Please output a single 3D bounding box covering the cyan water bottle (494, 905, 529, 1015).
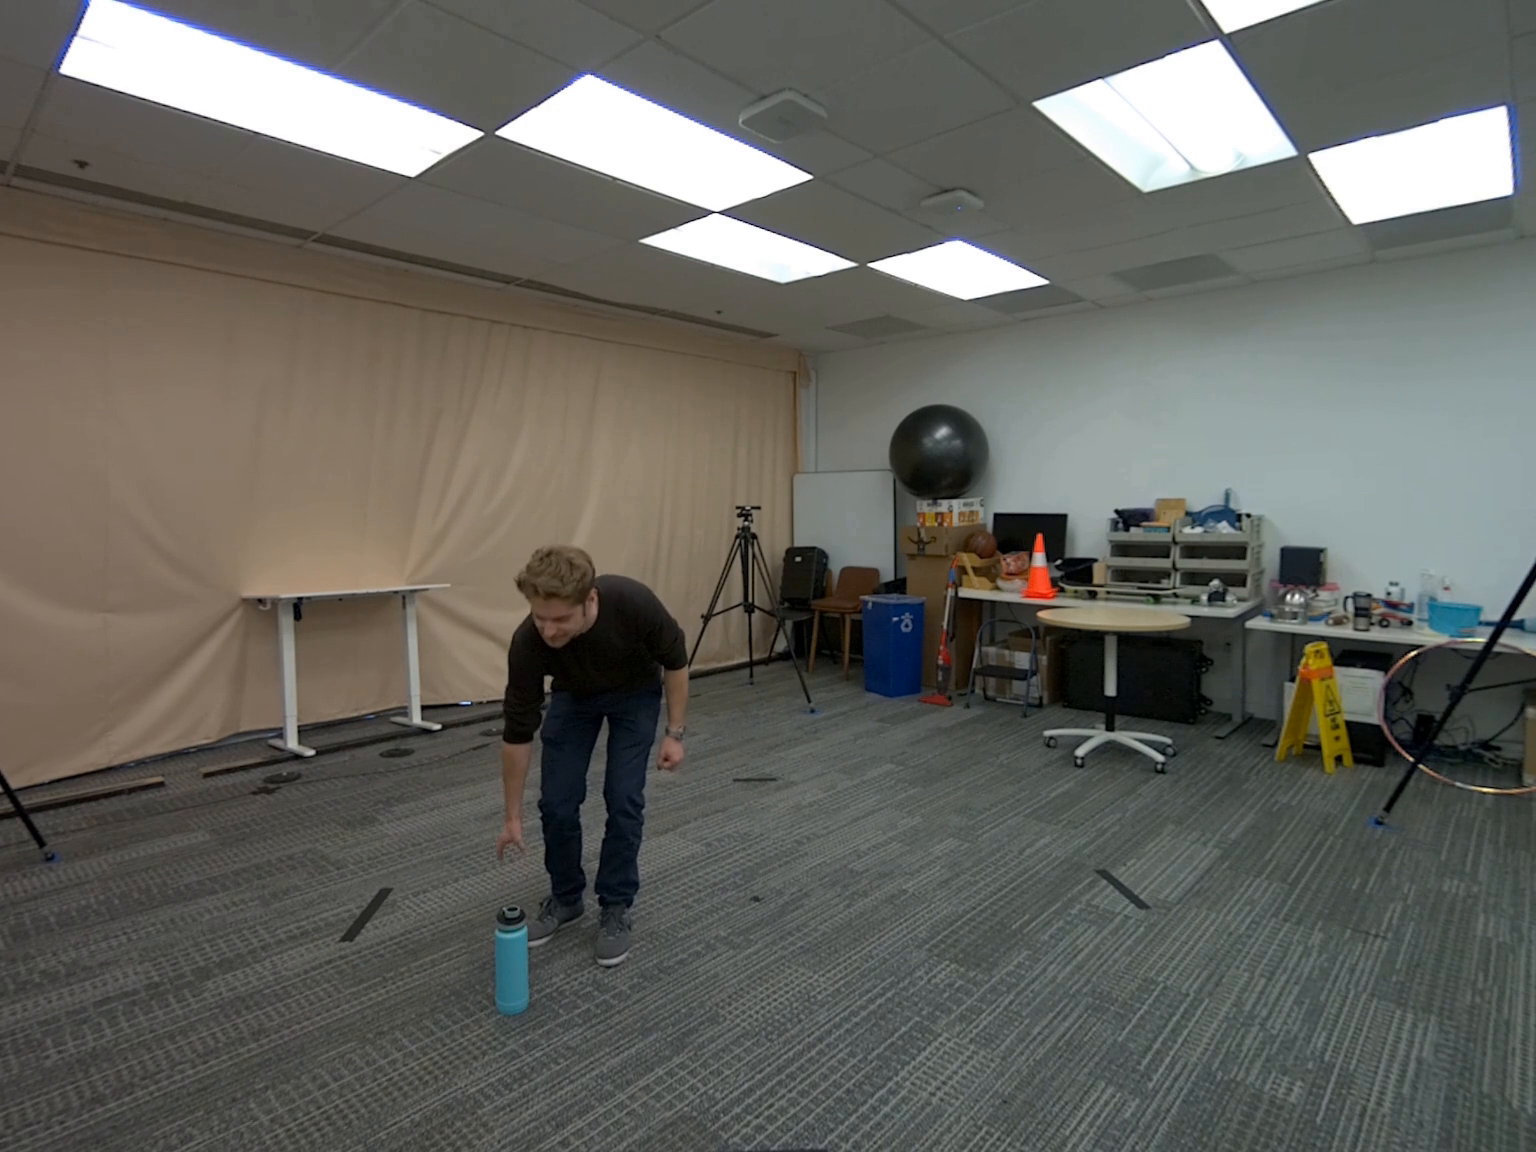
[{"bbox_3d":[-0.714,1.058,2.345,0.092,0.283,0.092,0,2,-2],"label":"cyan water bottle"}]
